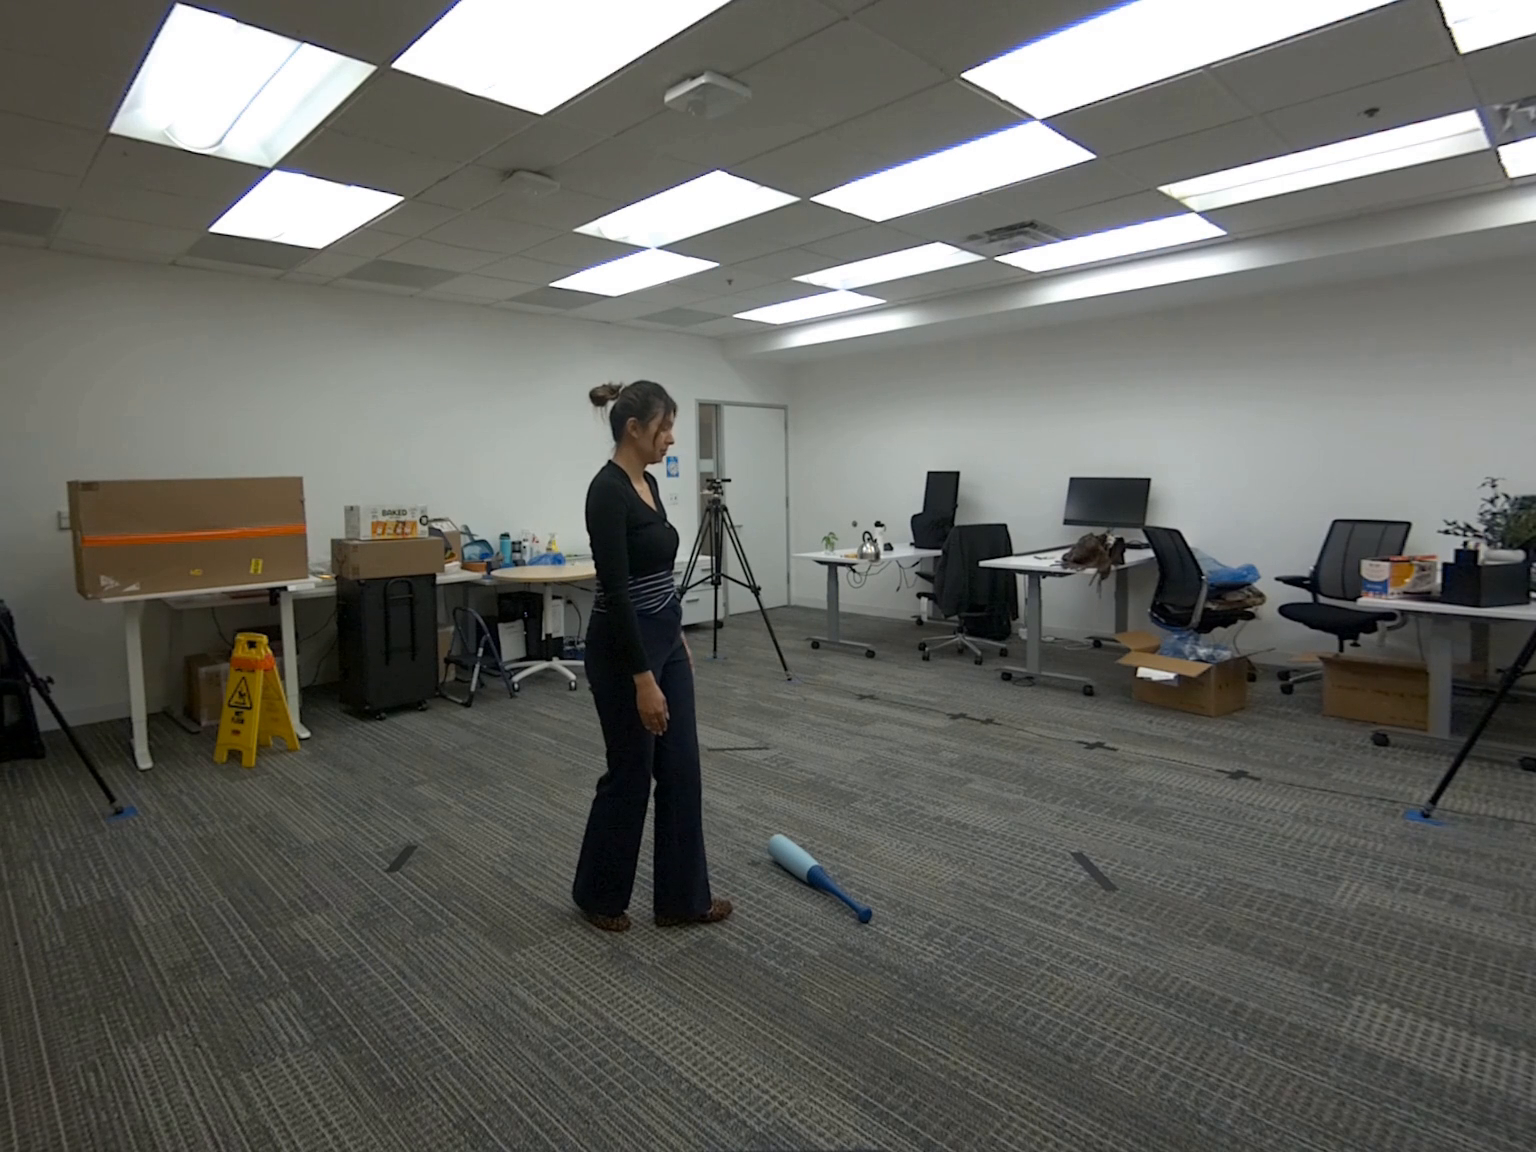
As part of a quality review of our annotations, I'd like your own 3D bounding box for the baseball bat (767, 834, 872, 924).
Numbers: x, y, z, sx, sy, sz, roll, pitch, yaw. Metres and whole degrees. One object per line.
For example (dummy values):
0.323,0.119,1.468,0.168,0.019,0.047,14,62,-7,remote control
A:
0.170,1.026,2.909,0.087,0.088,0.559,-4,10,-29,baseball bat
